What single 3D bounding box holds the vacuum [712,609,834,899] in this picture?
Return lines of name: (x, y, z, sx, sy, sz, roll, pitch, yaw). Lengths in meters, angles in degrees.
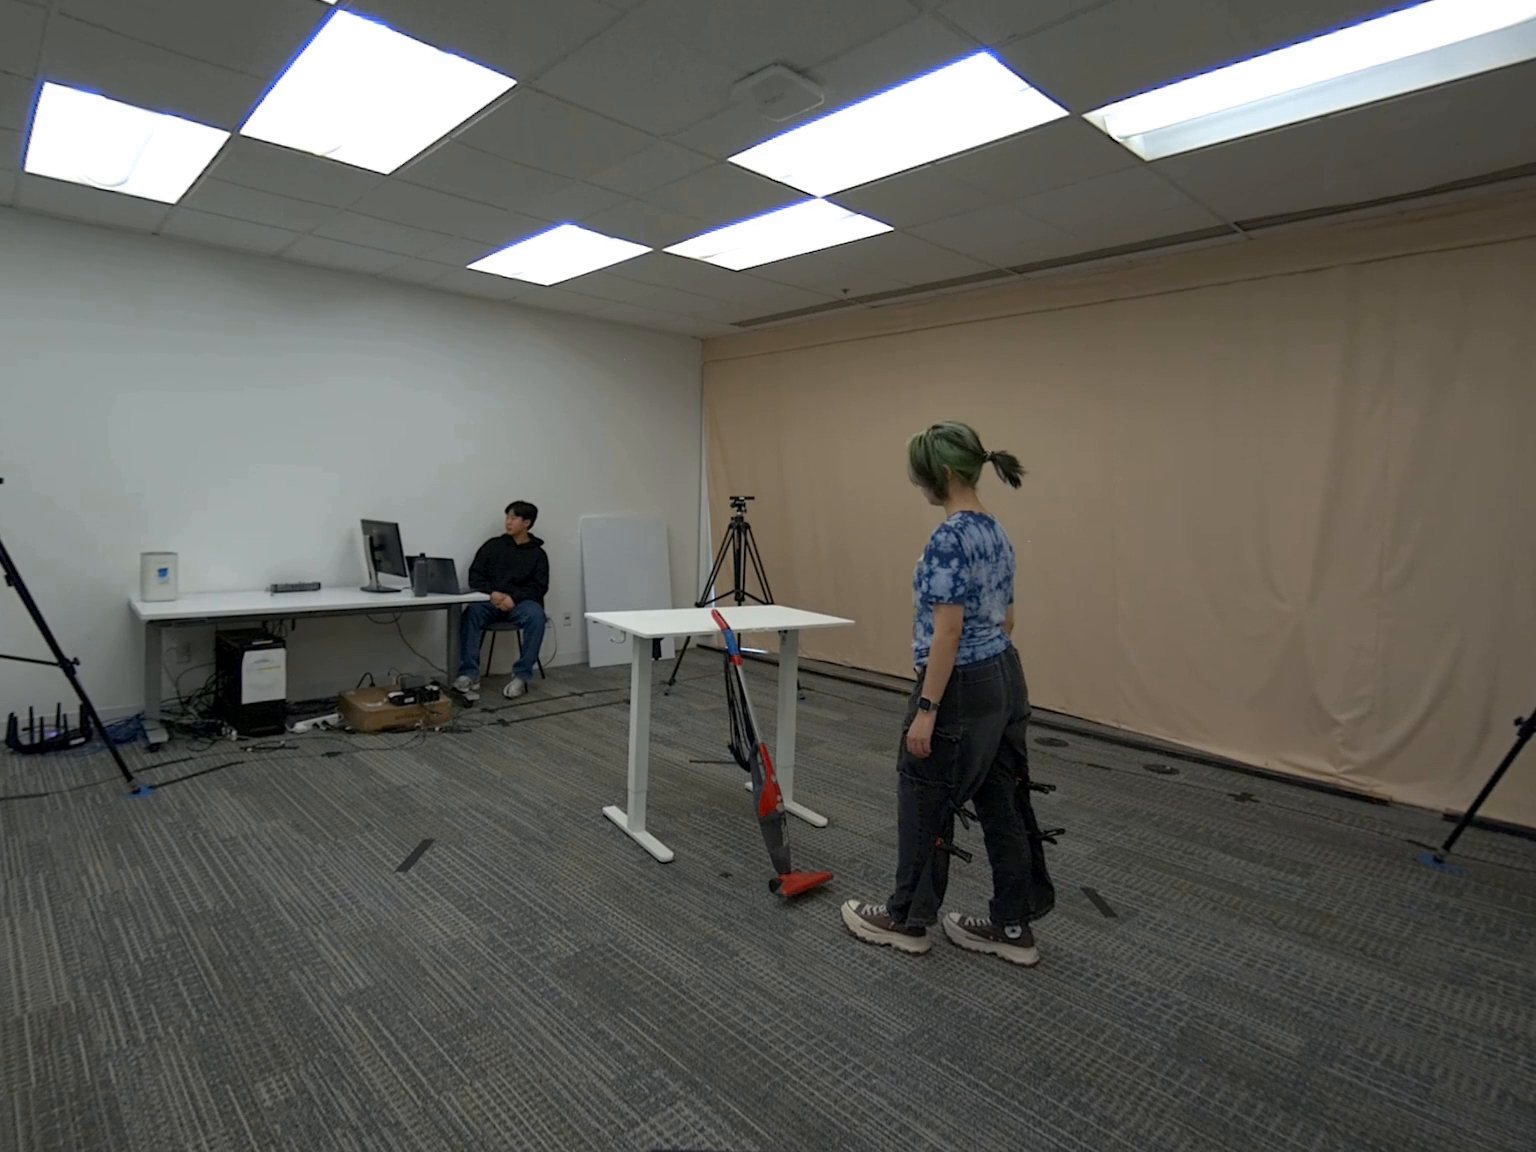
vacuum: (-0.065, 0.626, 3.124, 0.247, 1.066, 0.145, -1, -24, -43)
